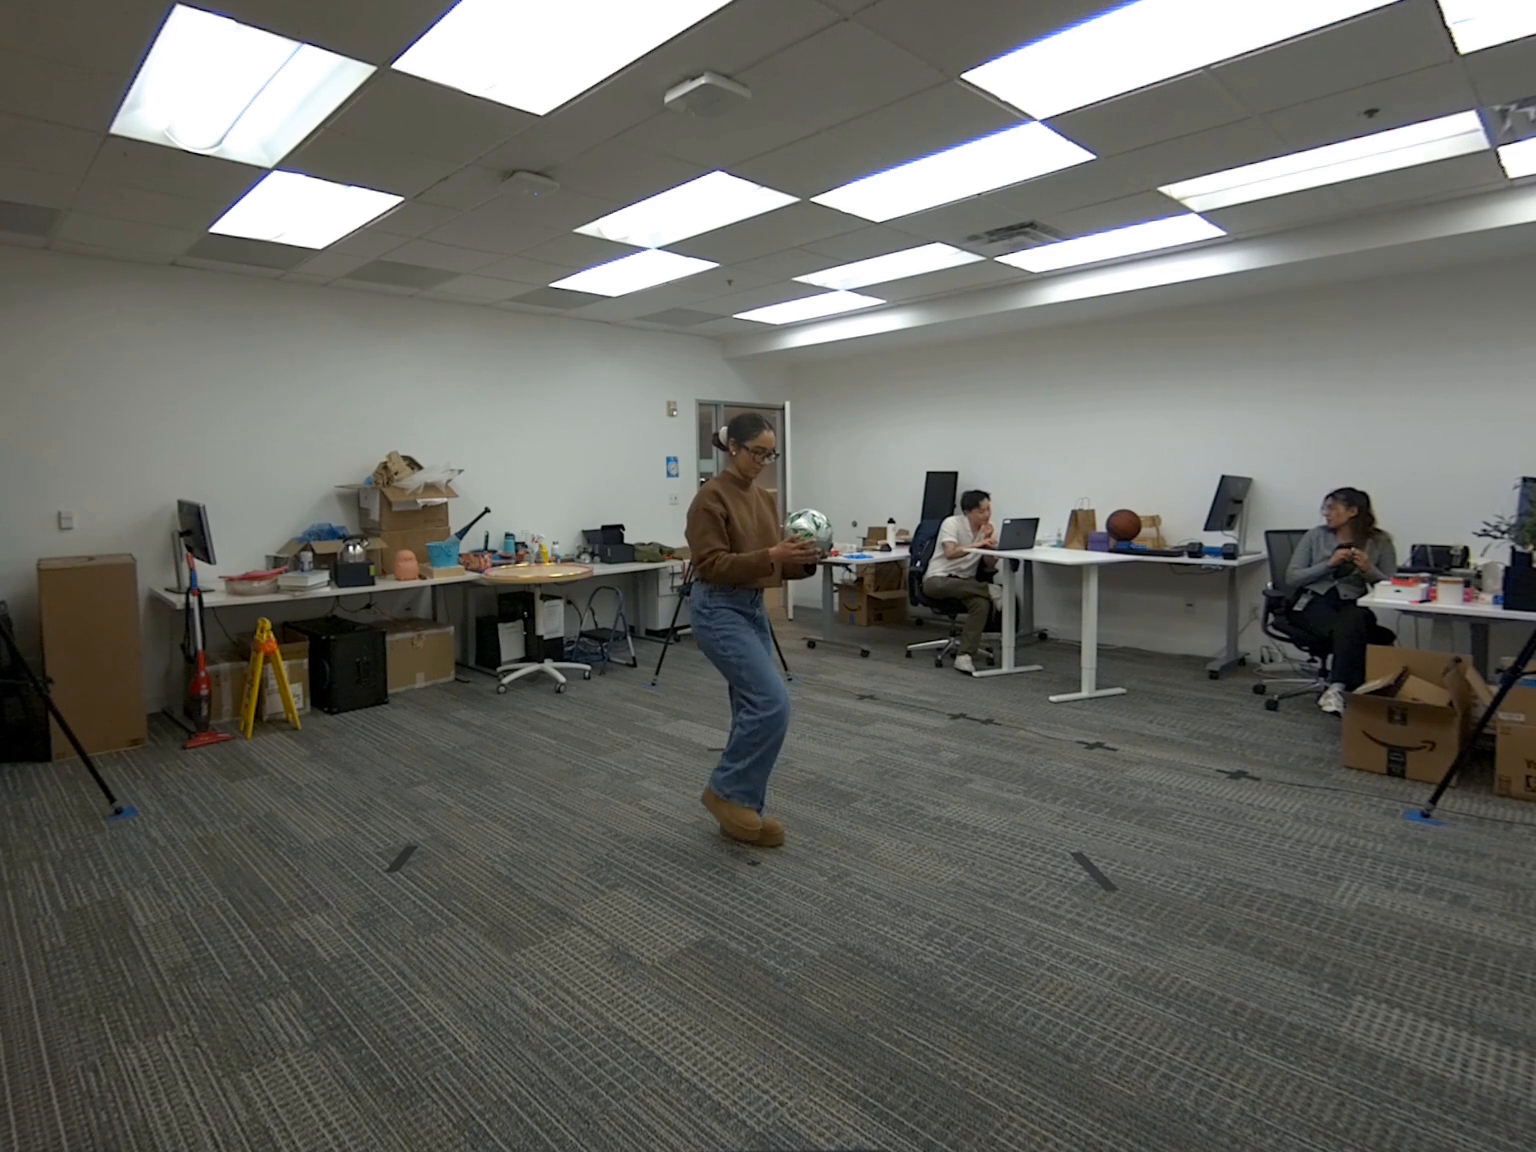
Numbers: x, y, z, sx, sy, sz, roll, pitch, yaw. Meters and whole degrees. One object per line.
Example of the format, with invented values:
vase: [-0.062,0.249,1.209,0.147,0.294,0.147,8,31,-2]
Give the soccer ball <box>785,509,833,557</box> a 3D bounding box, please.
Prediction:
soccer ball: [0.148,-0.146,3.086,0.187,0.187,0.188,-1,5,-2]
